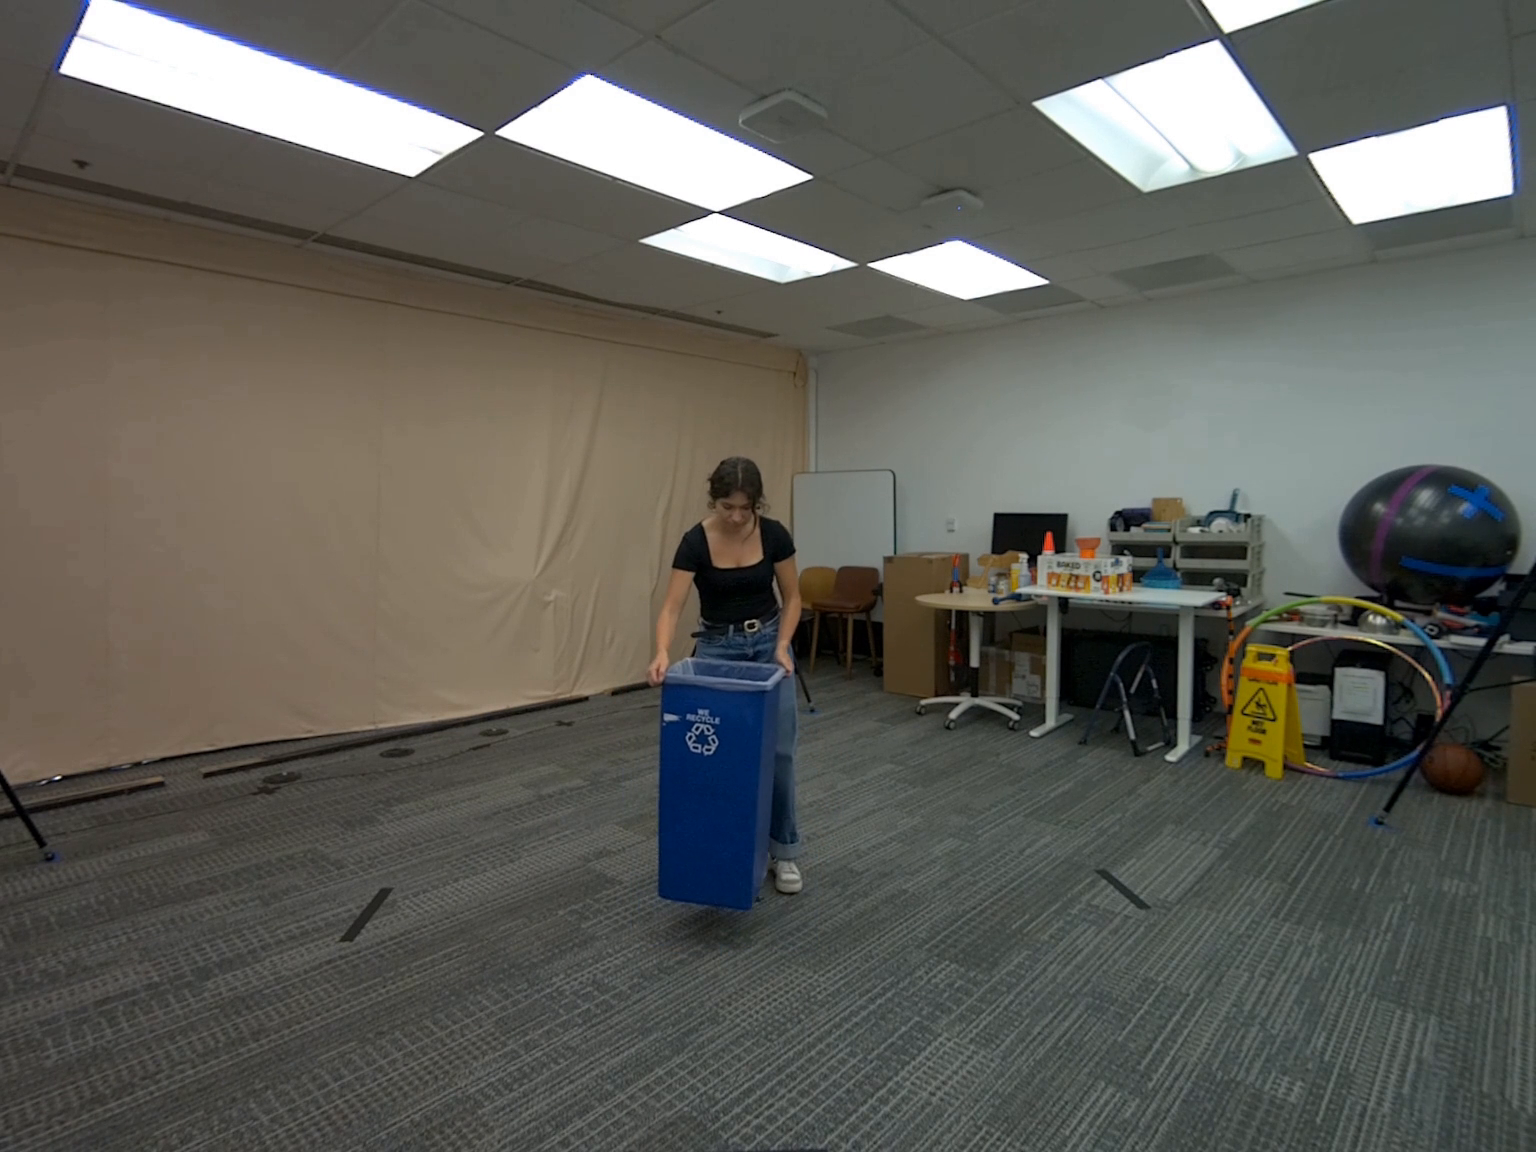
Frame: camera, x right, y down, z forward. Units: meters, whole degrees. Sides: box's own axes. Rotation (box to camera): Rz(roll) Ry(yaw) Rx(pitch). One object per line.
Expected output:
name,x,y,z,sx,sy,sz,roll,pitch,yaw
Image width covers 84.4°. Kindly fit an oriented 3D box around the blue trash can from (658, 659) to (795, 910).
blue trash can,-0.146,0.667,2.756,0.380,0.713,0.373,2,1,12
